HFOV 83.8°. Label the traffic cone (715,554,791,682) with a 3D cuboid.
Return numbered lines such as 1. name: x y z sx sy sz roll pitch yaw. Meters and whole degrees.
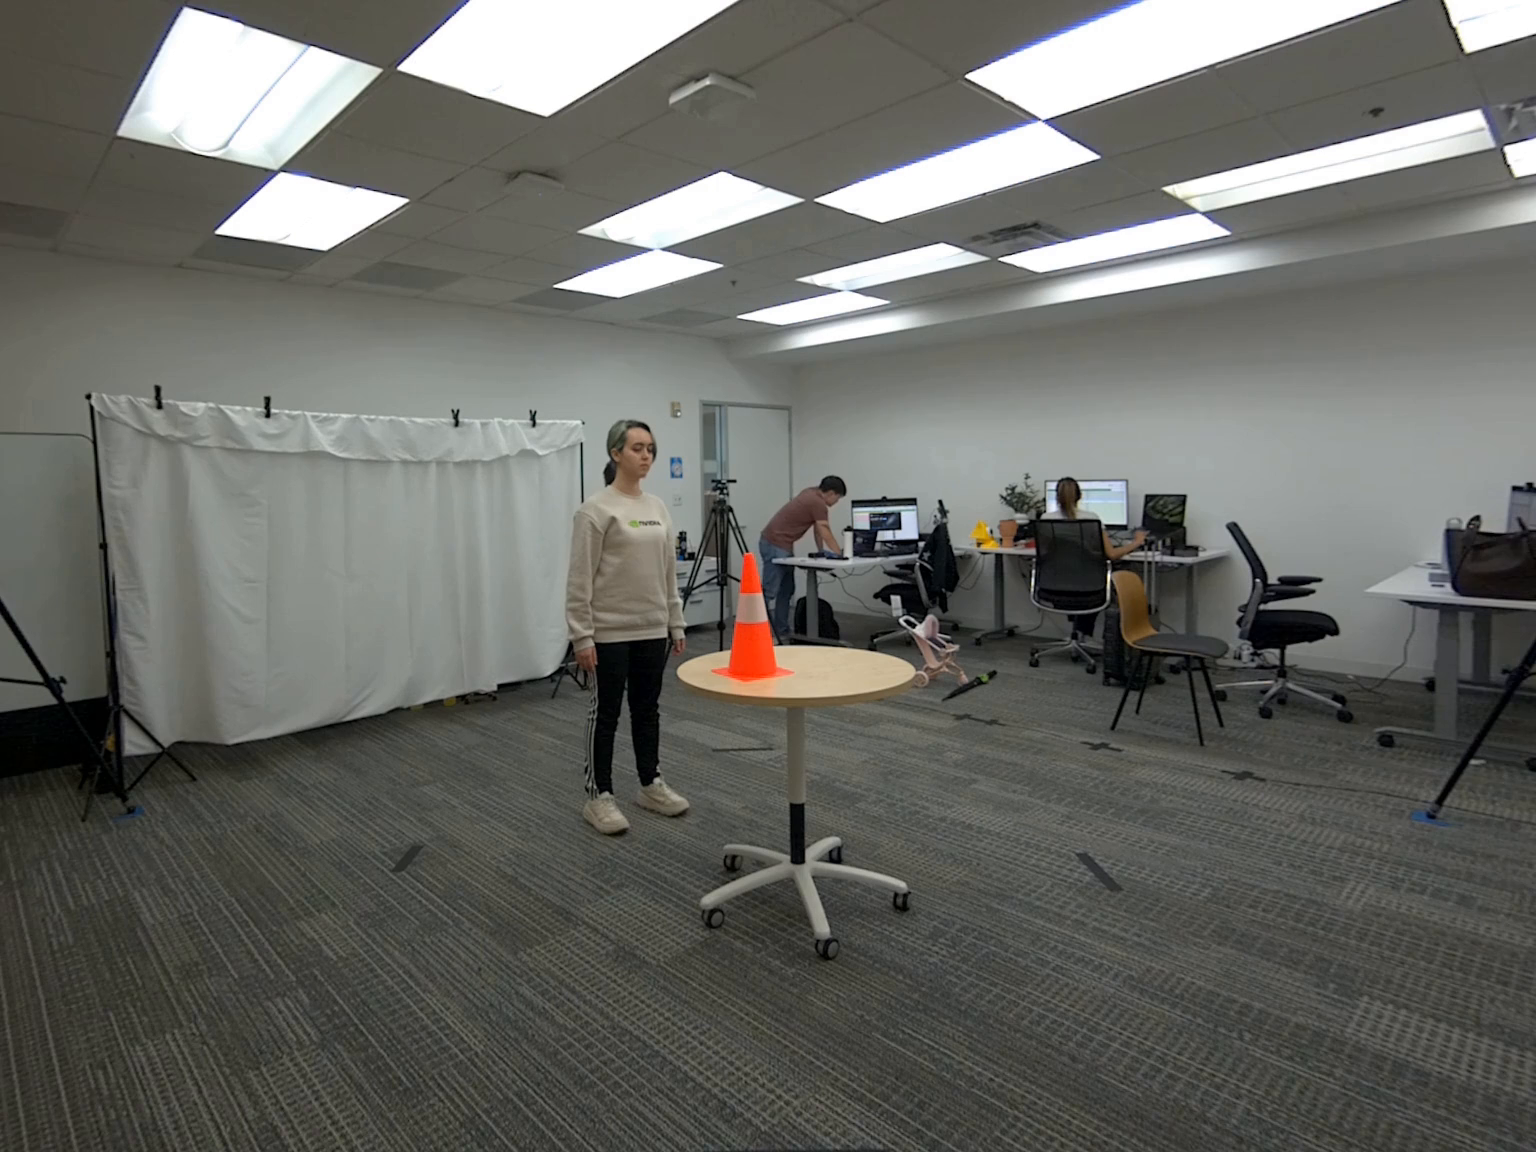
1. traffic cone: -0.057 0.121 2.714 0.200 0.382 0.209 -6 7 -43
